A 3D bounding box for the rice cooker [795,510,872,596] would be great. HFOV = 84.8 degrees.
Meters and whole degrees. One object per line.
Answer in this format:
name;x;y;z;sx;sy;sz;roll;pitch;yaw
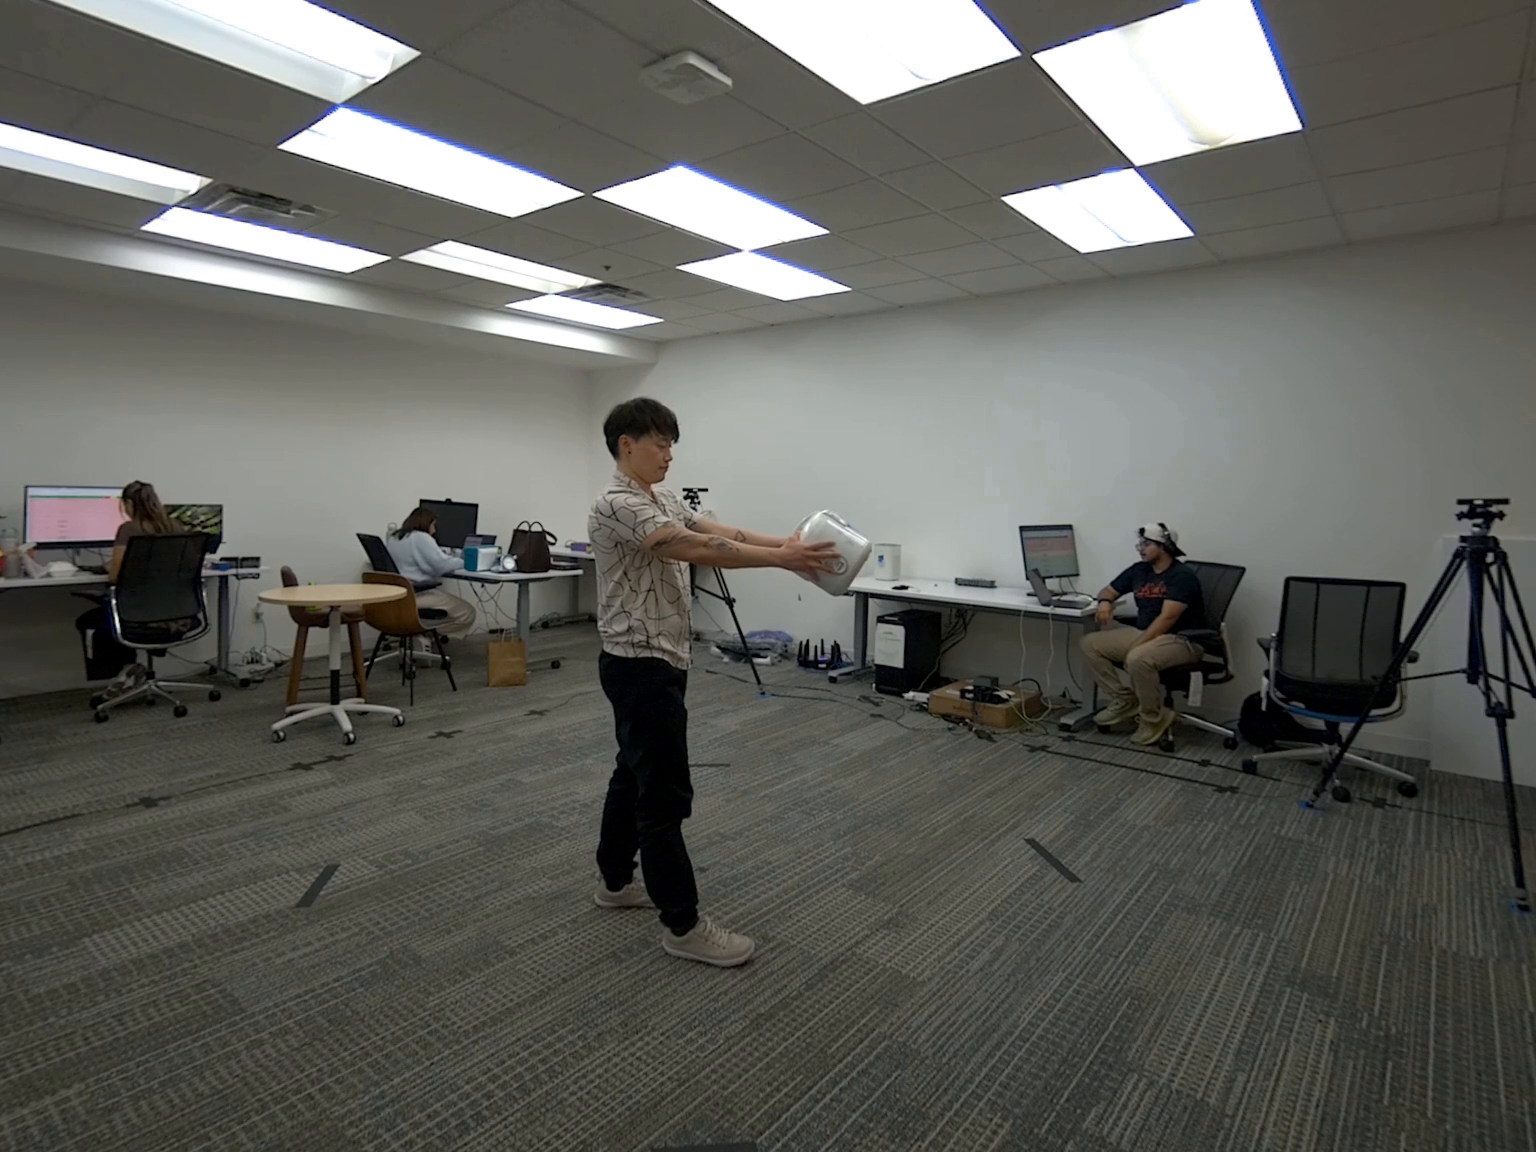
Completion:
rice cooker;0.168;-0.077;2.567;0.235;0.220;0.216;32;11;7
